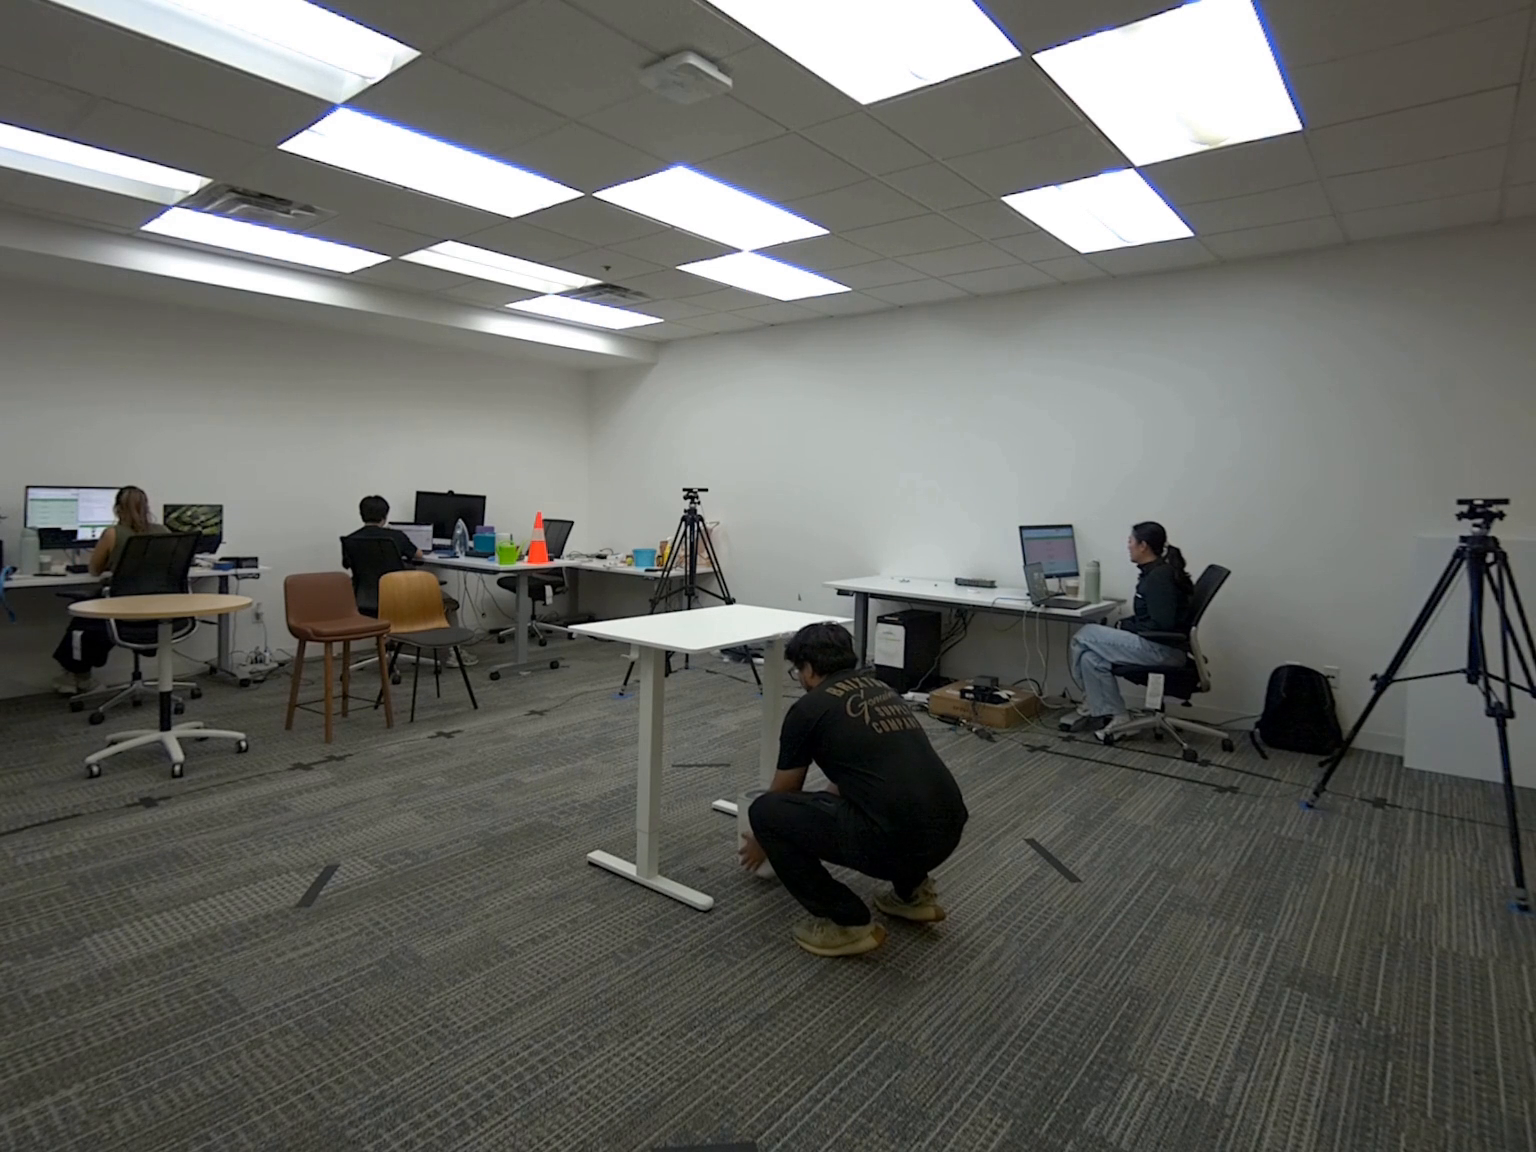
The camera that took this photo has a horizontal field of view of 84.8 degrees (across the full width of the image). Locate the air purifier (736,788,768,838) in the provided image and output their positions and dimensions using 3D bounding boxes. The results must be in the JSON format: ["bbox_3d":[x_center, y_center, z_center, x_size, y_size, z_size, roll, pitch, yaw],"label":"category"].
[{"bbox_3d":[-0.006,0.907,3.037,0.177,0.266,0.166,-3,-1,43],"label":"air purifier"}]
